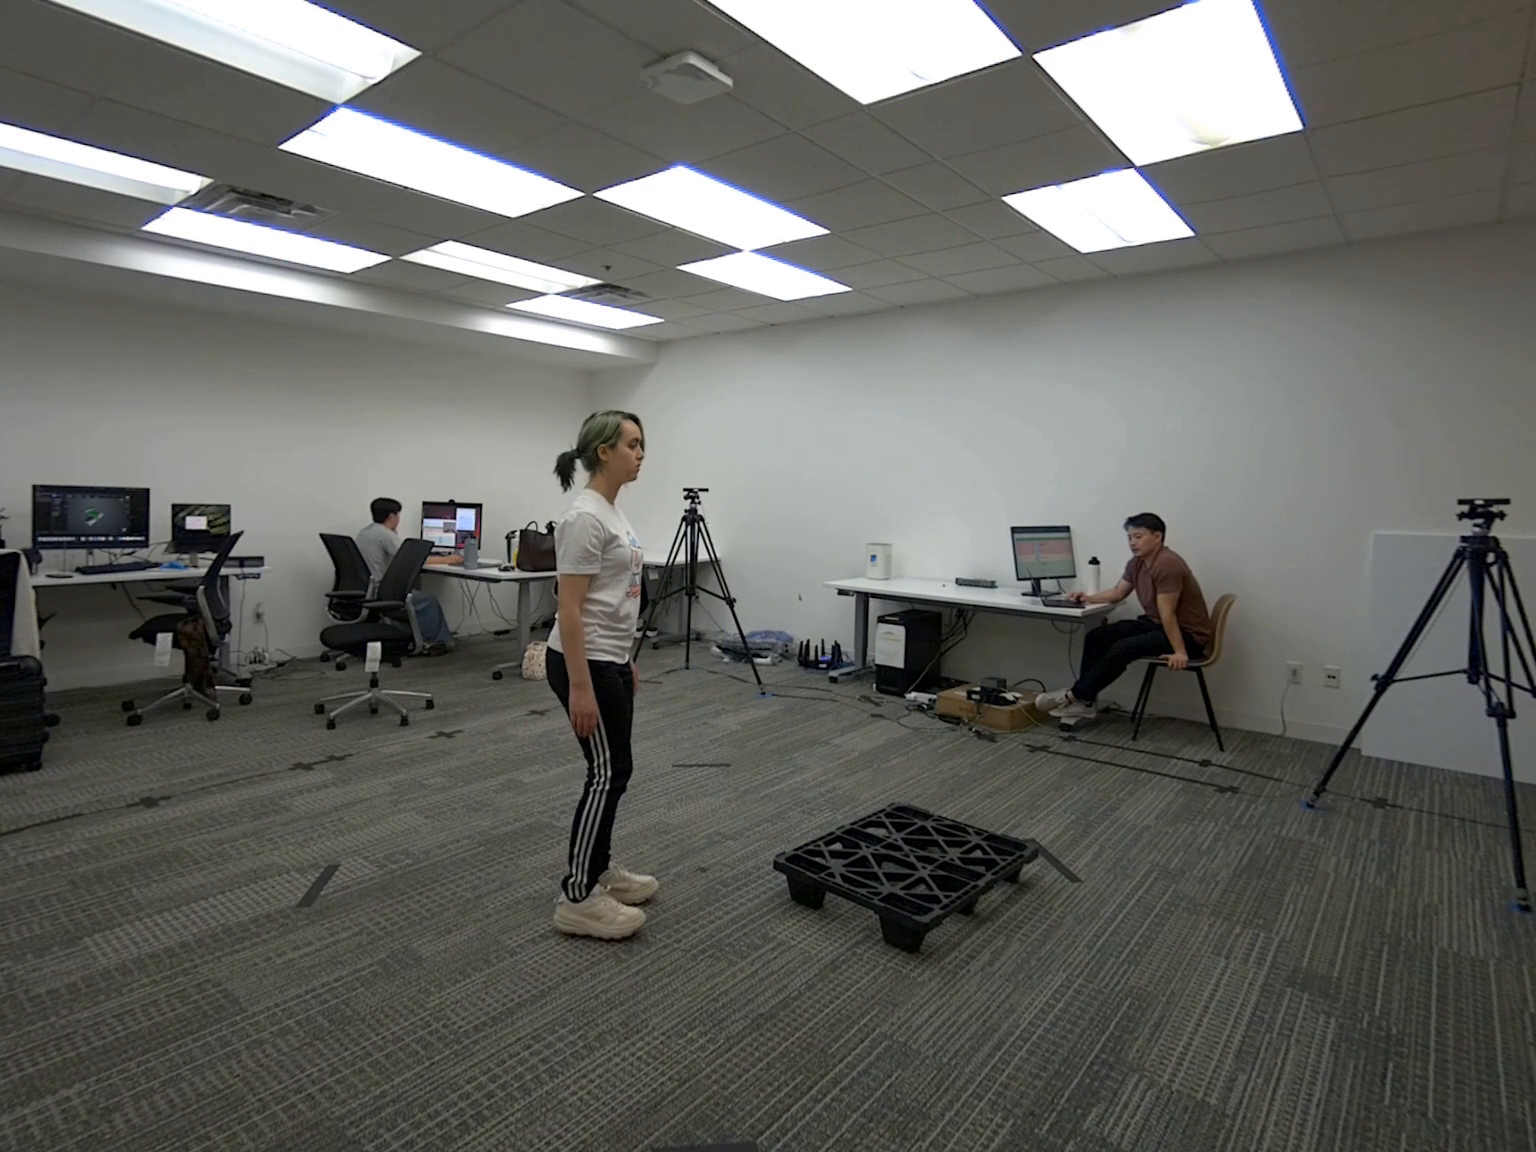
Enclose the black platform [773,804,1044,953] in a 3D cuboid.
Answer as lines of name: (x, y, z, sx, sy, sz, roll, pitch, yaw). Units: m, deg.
black platform: (0.481, 1.034, 2.985, 0.626, 0.143, 0.781, 6, 7, 42)
